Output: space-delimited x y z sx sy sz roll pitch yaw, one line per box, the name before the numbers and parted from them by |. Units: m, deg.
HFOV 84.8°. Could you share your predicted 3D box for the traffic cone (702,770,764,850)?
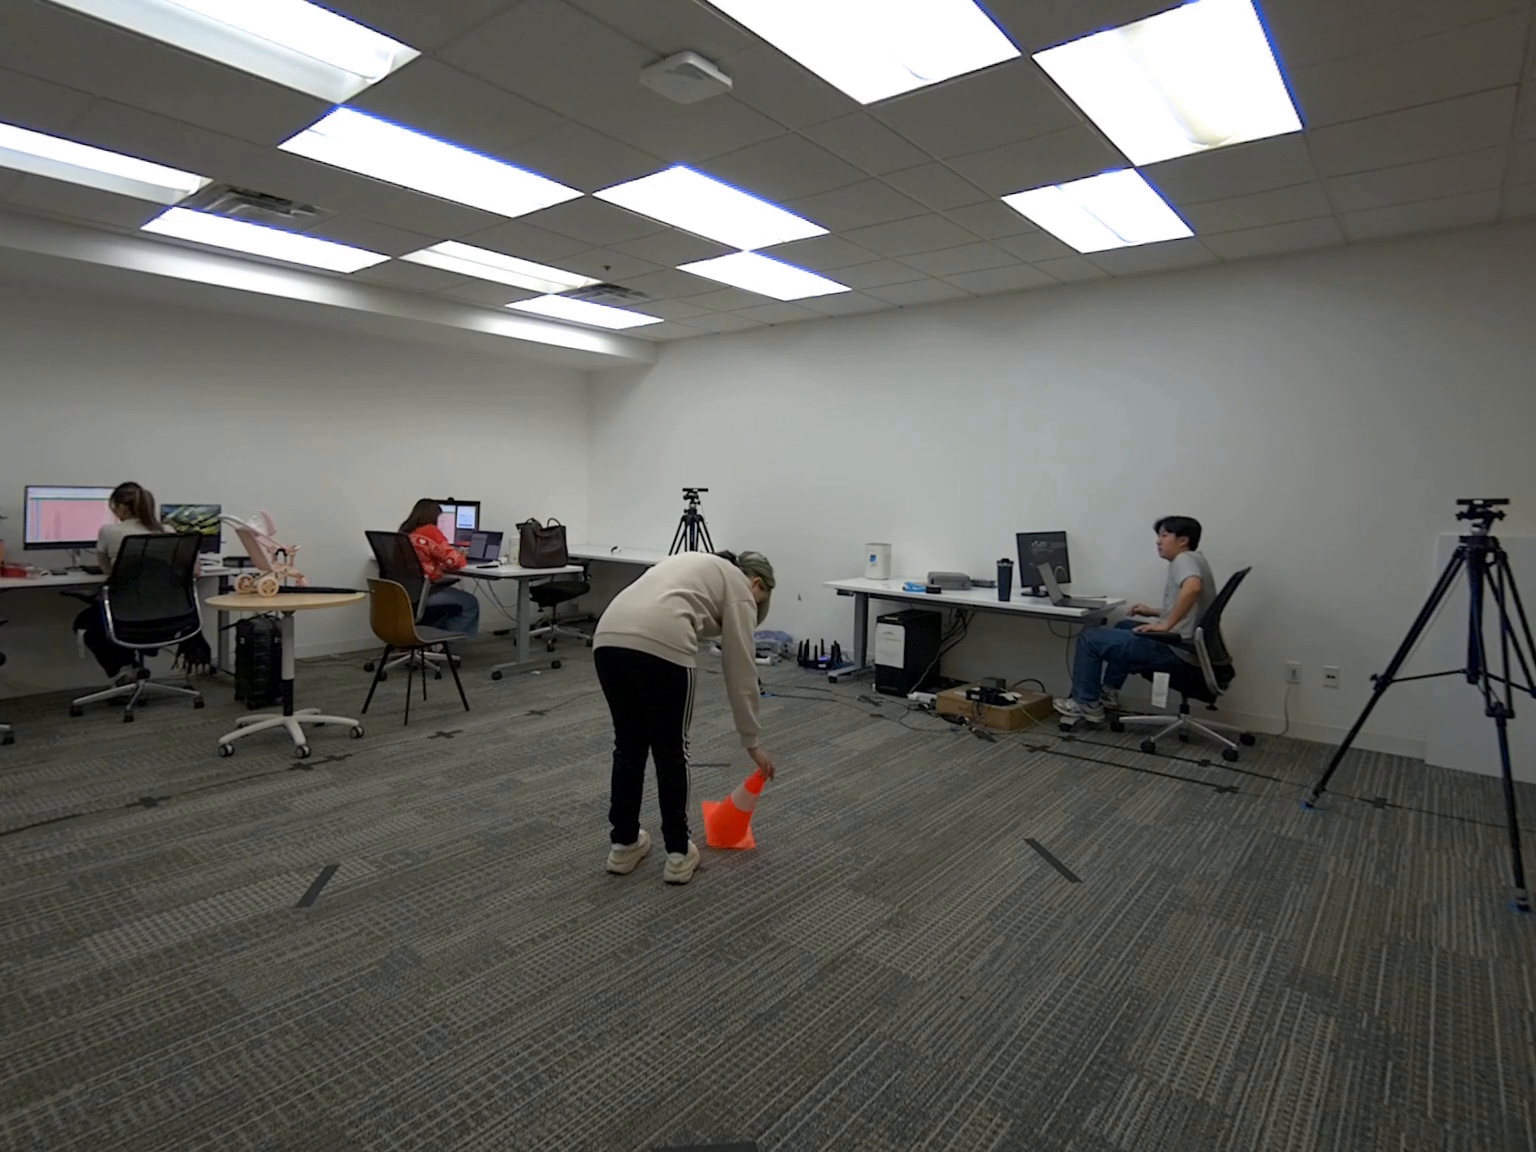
traffic cone | -0.096 0.845 3.263 0.198 0.379 0.212 10 35 -23
